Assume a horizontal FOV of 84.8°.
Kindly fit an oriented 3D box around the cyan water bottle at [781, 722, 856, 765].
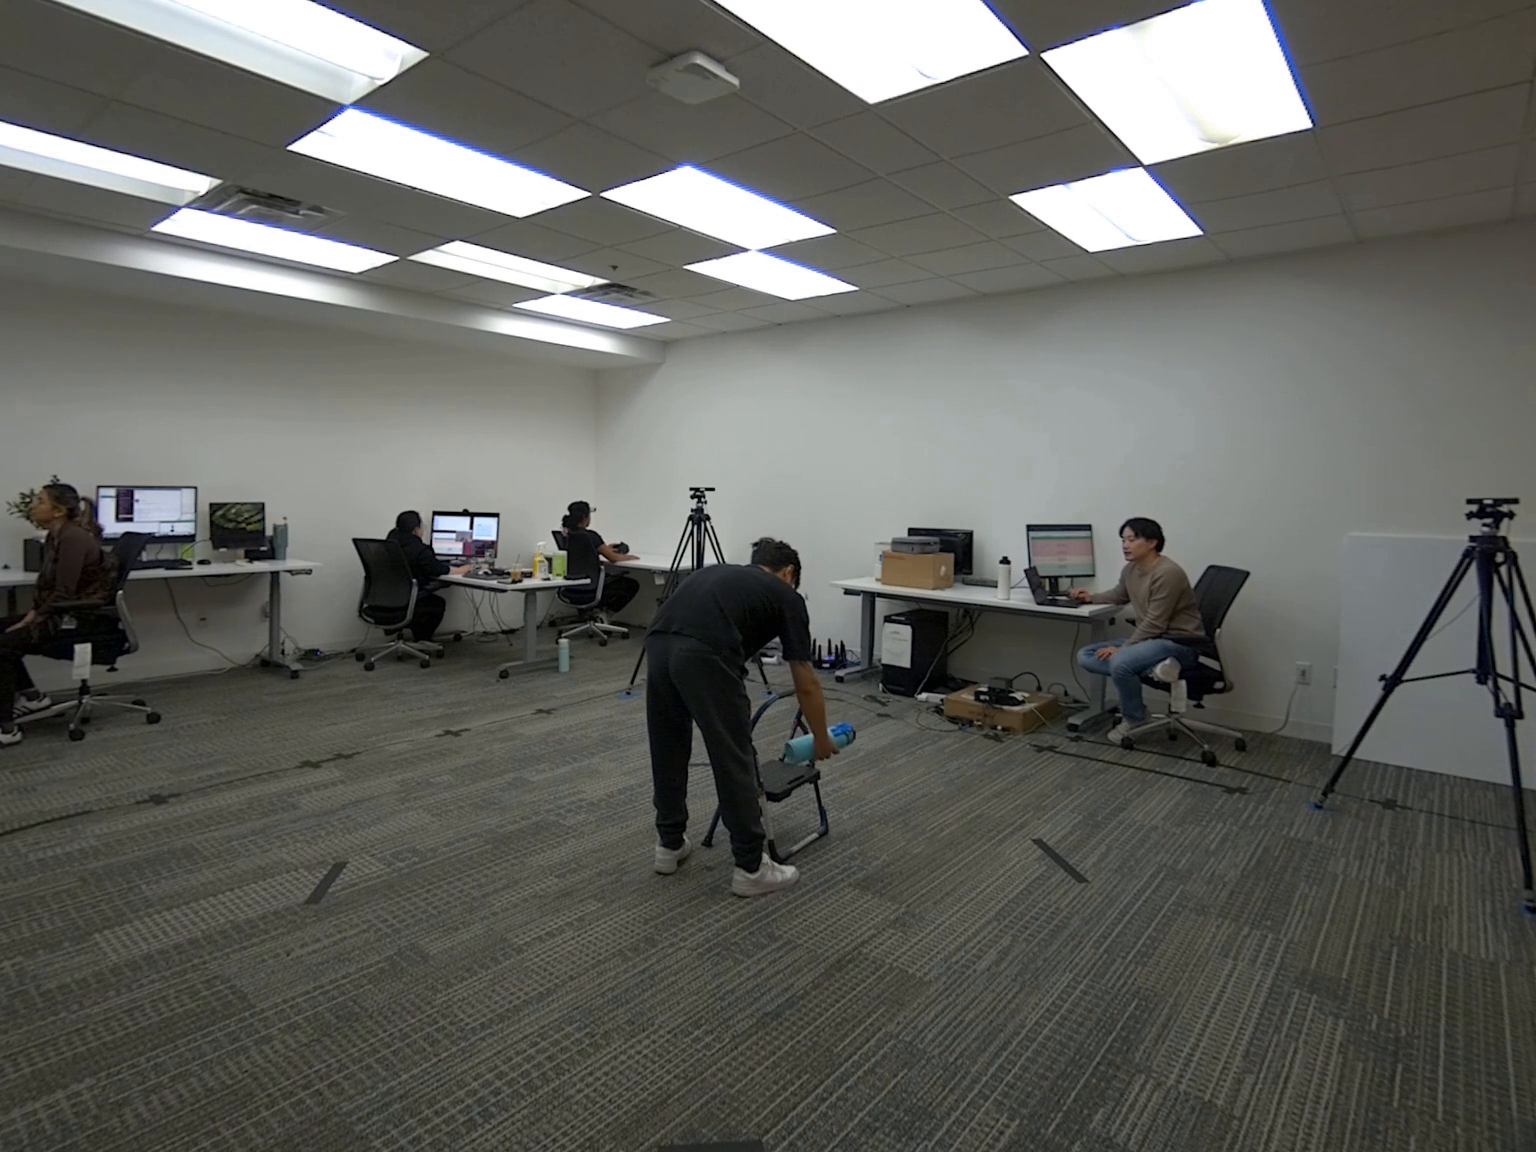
[{"bbox_3d":[0.192,0.620,3.216,0.279,0.091,0.094,-15,10,-19],"label":"cyan water bottle"}]
